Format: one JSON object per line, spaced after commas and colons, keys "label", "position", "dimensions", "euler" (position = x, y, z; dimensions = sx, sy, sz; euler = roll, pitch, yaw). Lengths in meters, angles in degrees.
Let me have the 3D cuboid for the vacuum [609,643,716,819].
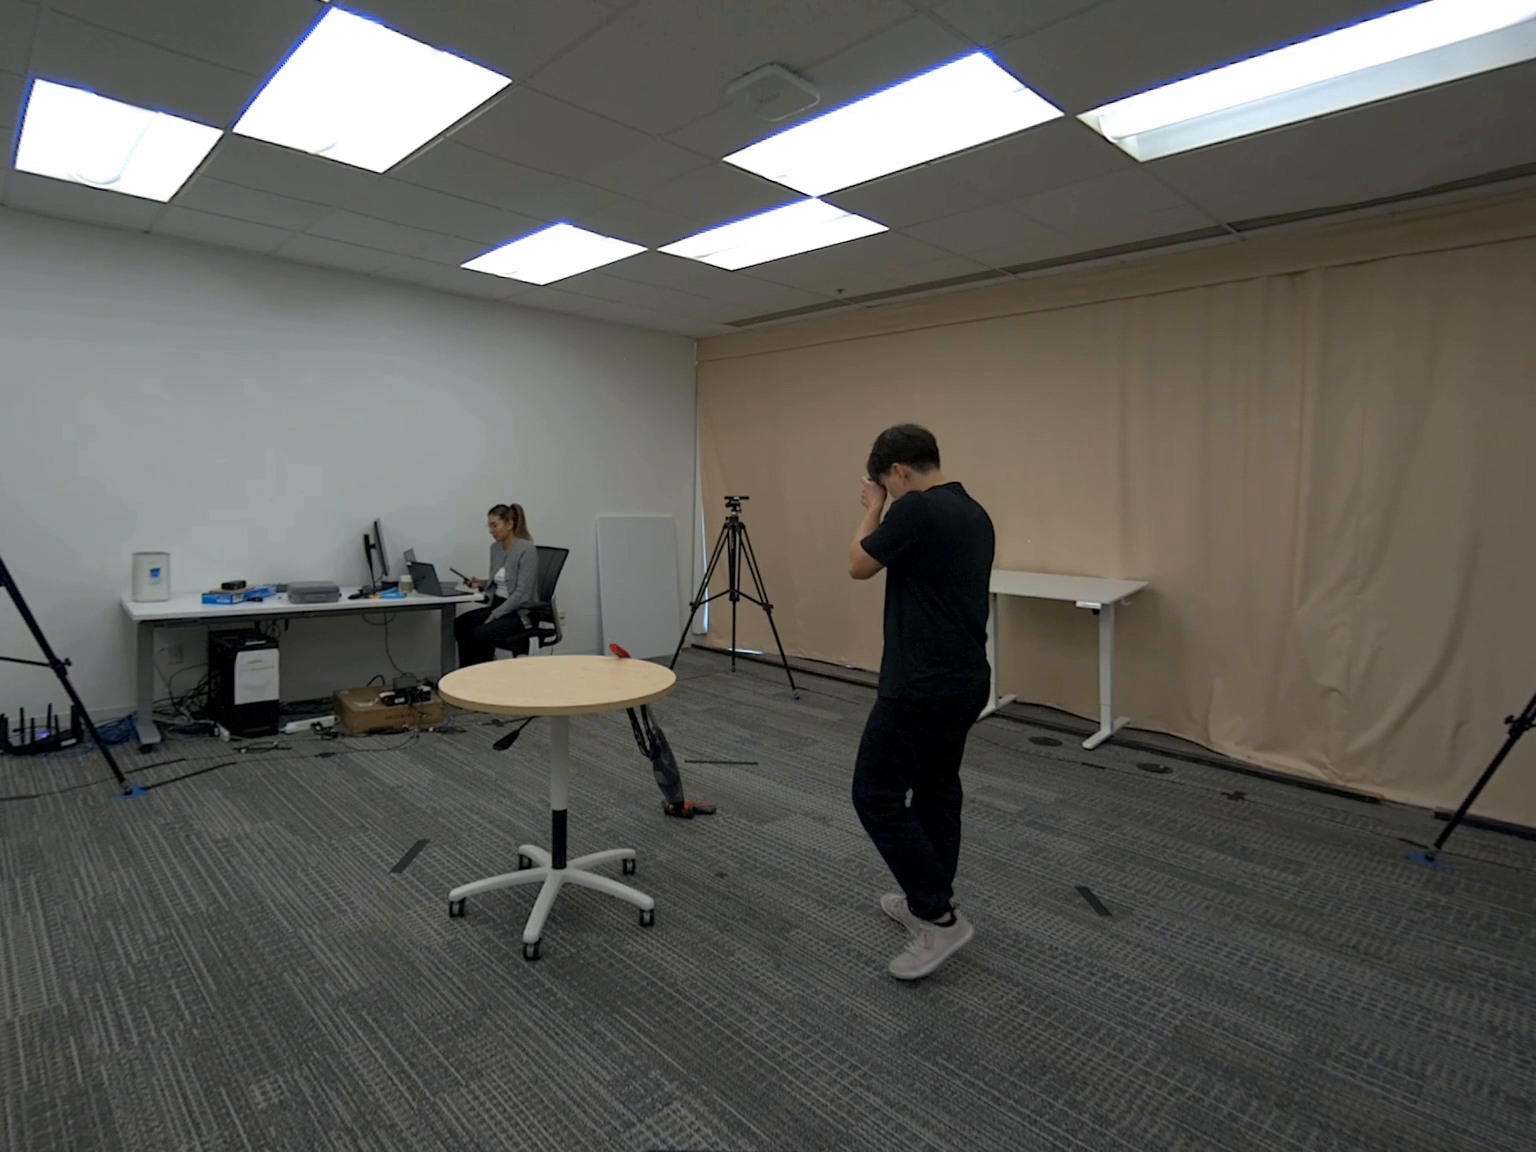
{"label": "vacuum", "position": [-0.472, 0.648, 3.409], "dimensions": [0.257, 1.022, 0.145], "euler": [5, 42, 23]}
